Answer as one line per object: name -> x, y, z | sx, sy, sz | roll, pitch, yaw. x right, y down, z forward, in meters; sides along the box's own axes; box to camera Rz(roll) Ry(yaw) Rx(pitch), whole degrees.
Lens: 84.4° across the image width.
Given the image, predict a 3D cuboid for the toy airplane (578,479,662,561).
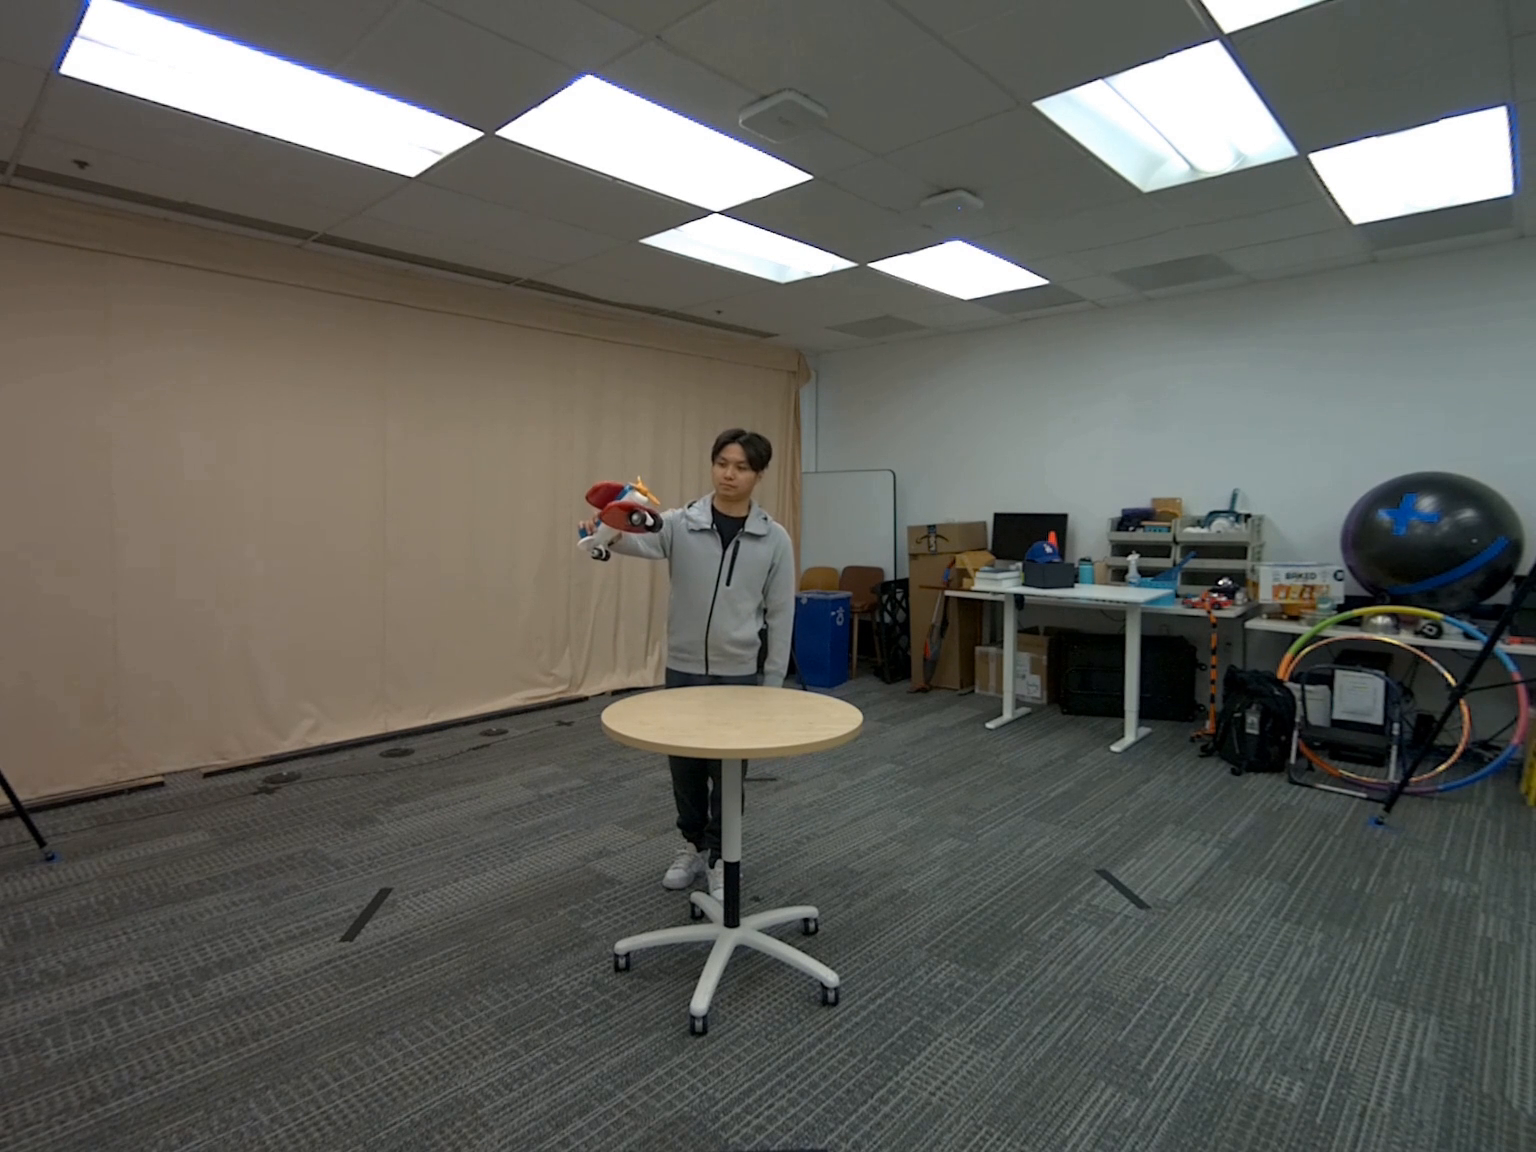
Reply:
toy airplane -> -0.446, -0.163, 2.414 | 0.258, 0.159, 0.247 | -20, -19, -5
